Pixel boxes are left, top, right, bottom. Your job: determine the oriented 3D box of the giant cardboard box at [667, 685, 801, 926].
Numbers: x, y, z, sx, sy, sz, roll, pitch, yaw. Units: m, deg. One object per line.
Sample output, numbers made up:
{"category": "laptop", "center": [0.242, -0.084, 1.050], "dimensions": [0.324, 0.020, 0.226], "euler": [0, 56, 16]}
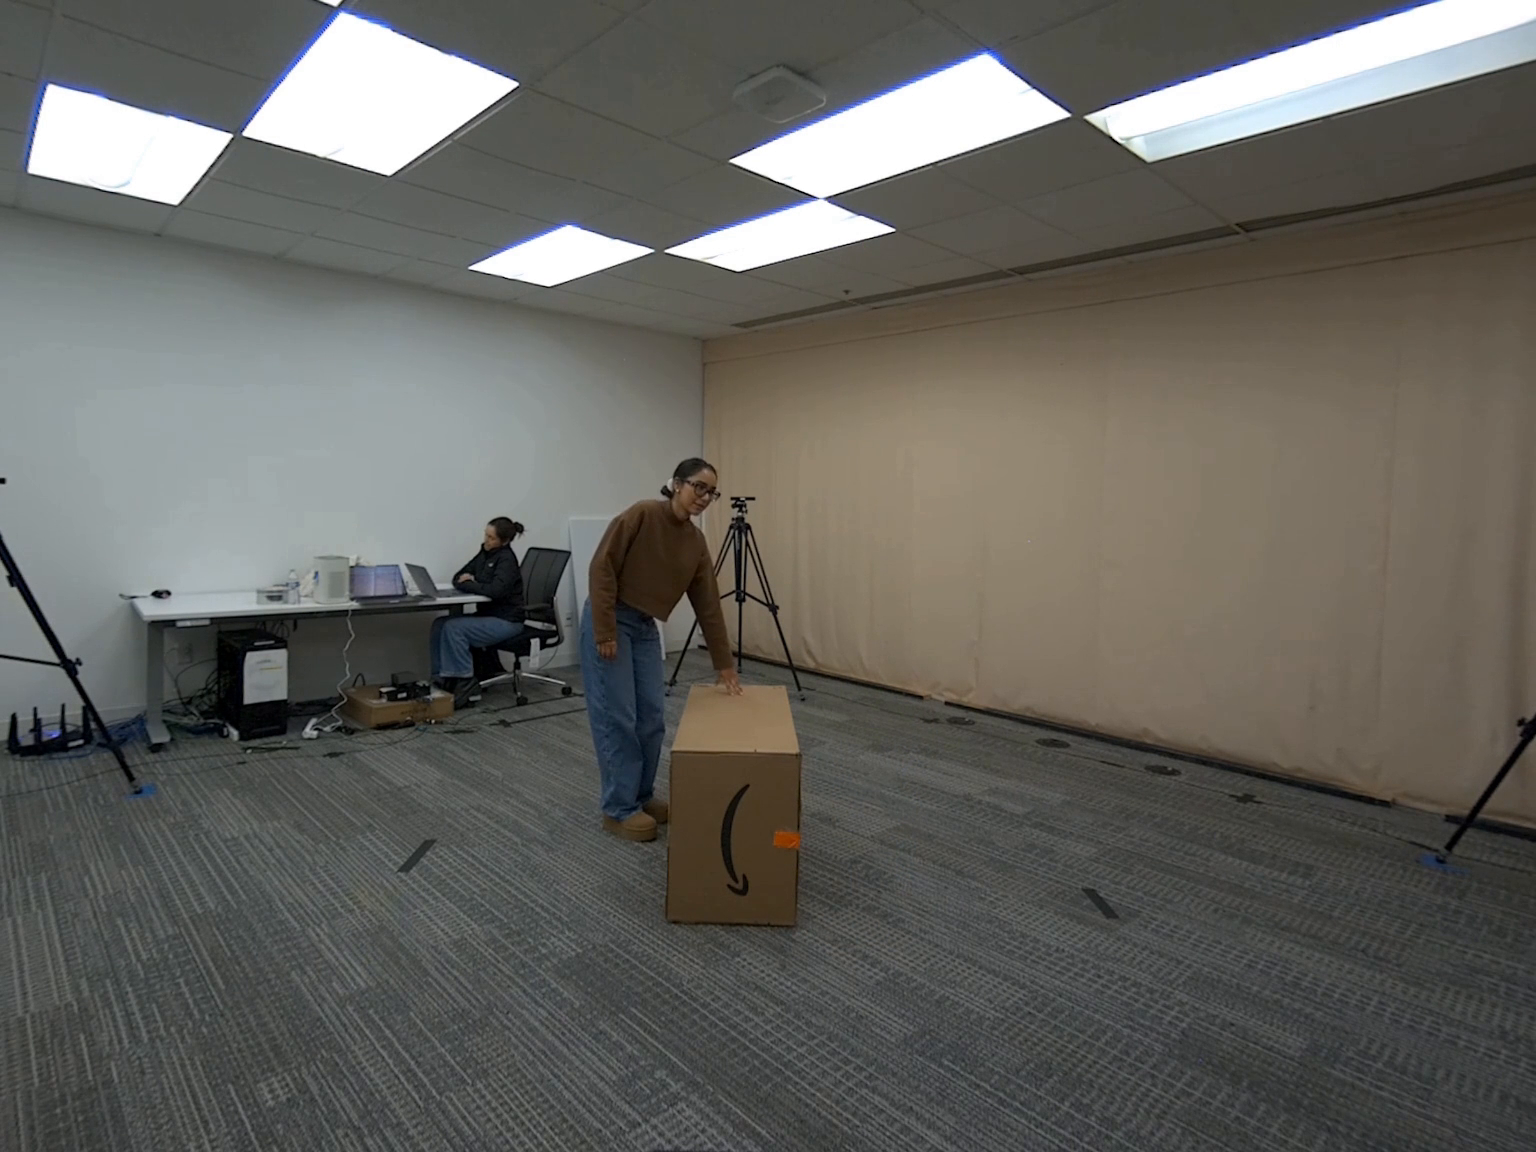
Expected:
{"category": "giant cardboard box", "center": [-0.127, 0.810, 3.231], "dimensions": [0.447, 0.582, 1.029], "euler": [0, 4, 0]}
